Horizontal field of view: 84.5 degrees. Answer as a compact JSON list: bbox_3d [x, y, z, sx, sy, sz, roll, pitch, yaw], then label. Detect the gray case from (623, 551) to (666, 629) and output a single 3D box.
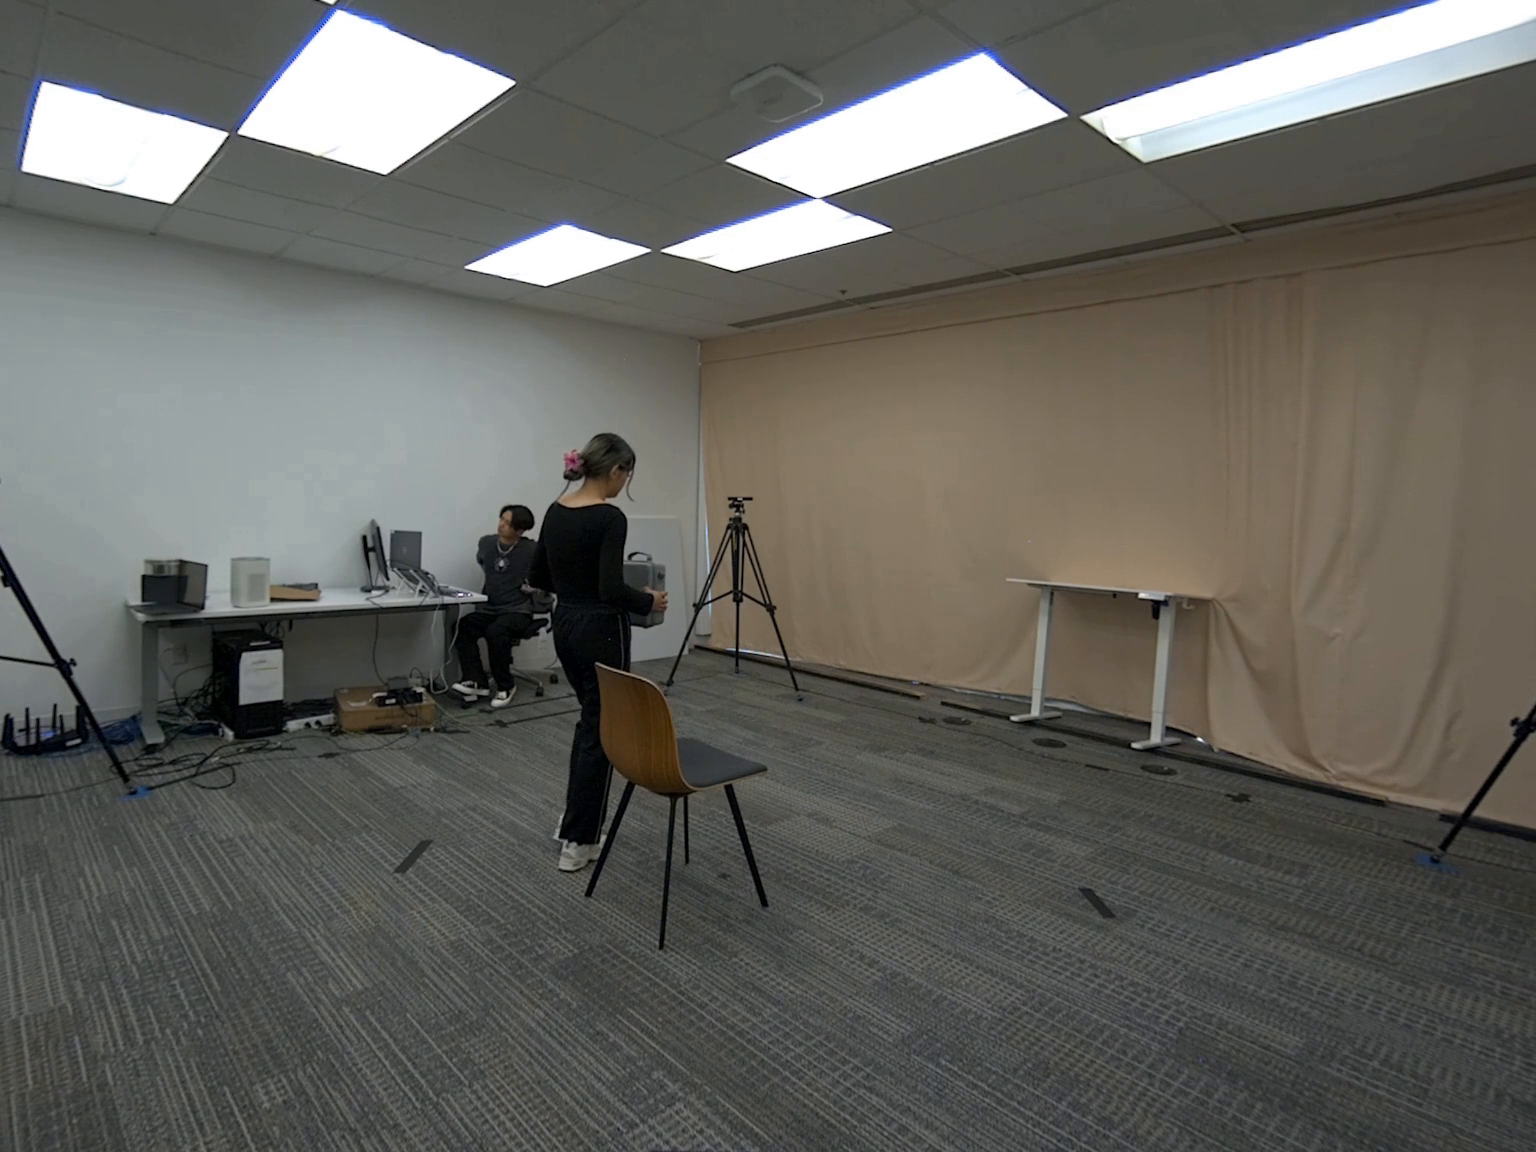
[{"bbox_3d":[-0.533,0.065,3.344,0.263,0.261,0.102,2,-2,42],"label":"gray case"}]
